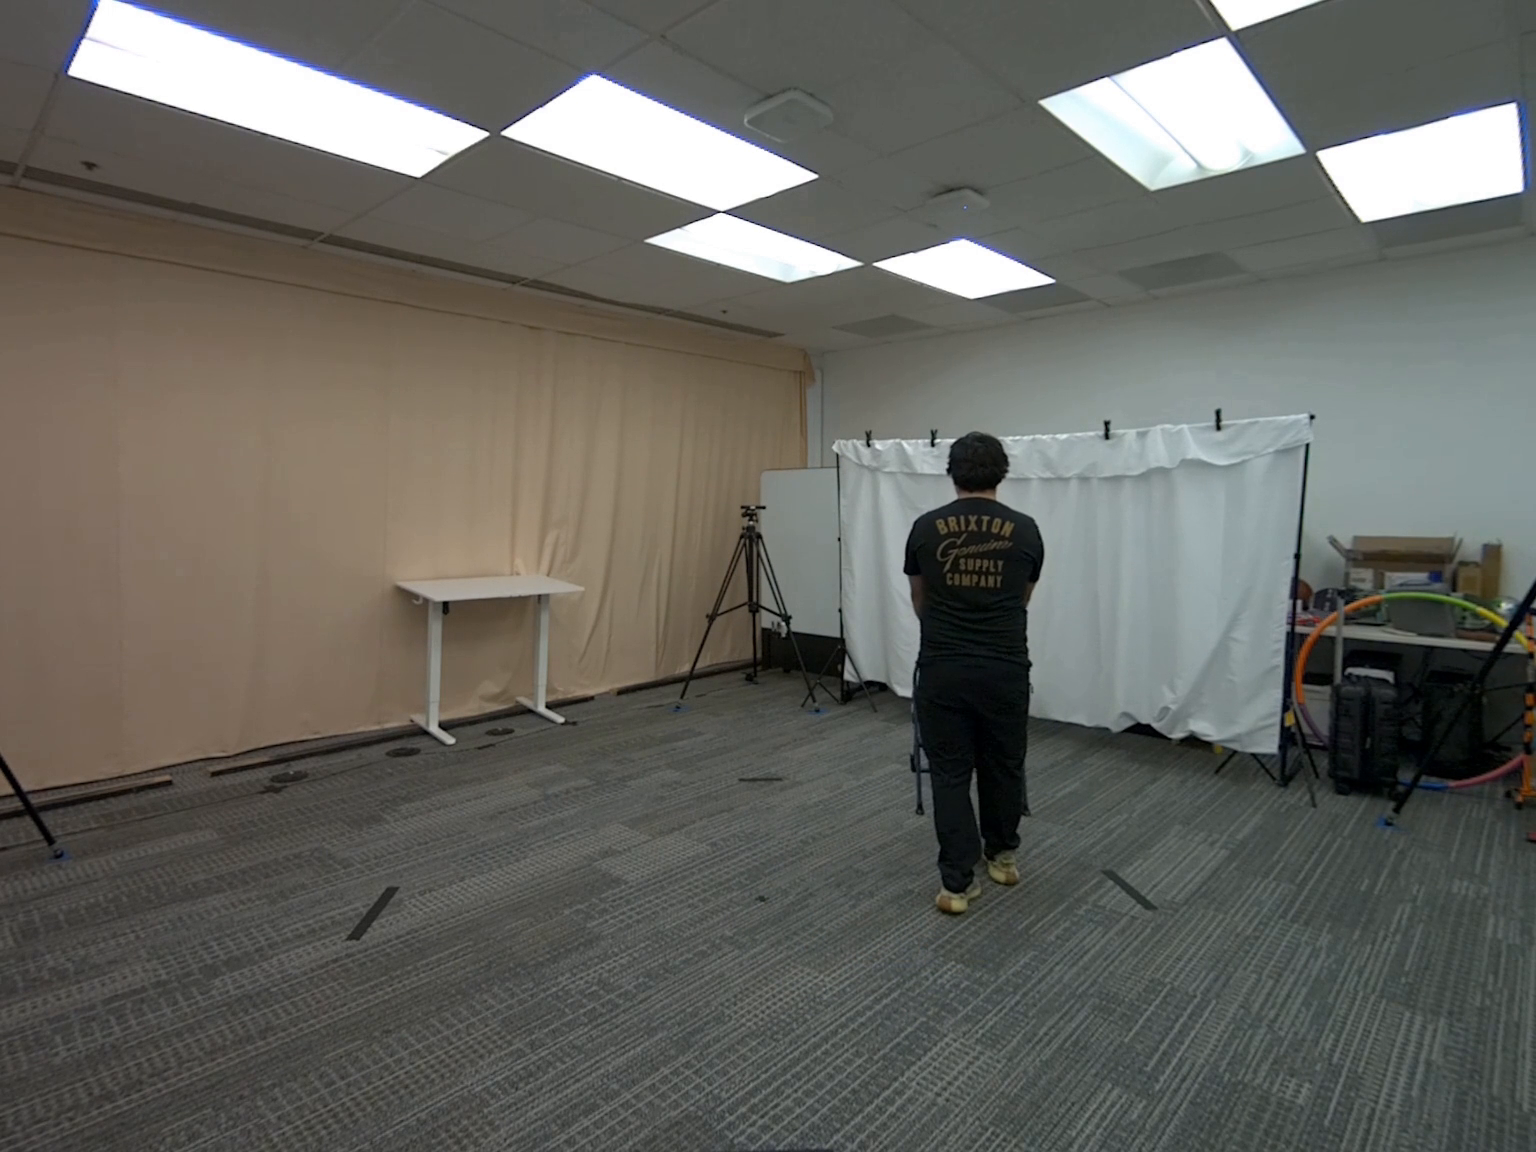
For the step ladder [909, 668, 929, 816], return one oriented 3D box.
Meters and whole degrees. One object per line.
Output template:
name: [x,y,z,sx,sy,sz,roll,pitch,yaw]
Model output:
step ladder: [0.799,0.588,3.329,0.434,0.600,0.350,-1,15,7]
